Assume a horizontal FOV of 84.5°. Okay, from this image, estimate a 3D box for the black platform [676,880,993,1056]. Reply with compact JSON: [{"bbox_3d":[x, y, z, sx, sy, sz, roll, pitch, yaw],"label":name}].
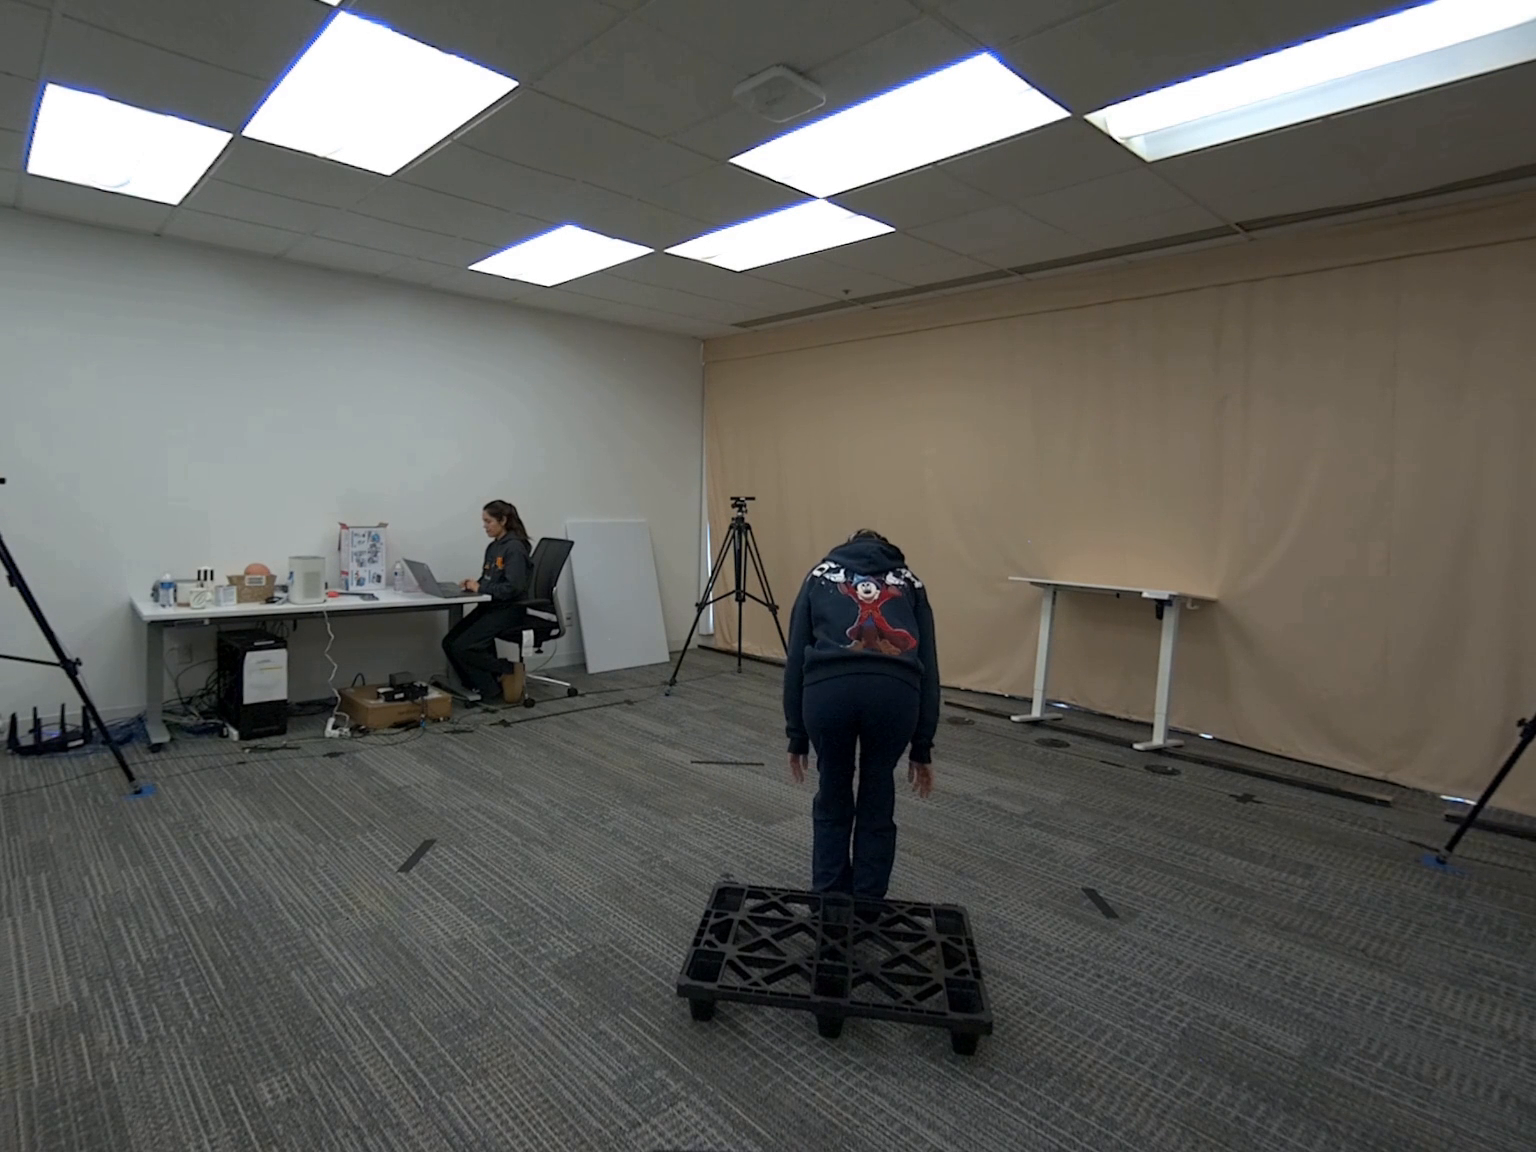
[{"bbox_3d":[0.188,1.112,2.407,0.811,0.143,0.603,2,6,7],"label":"black platform"}]
